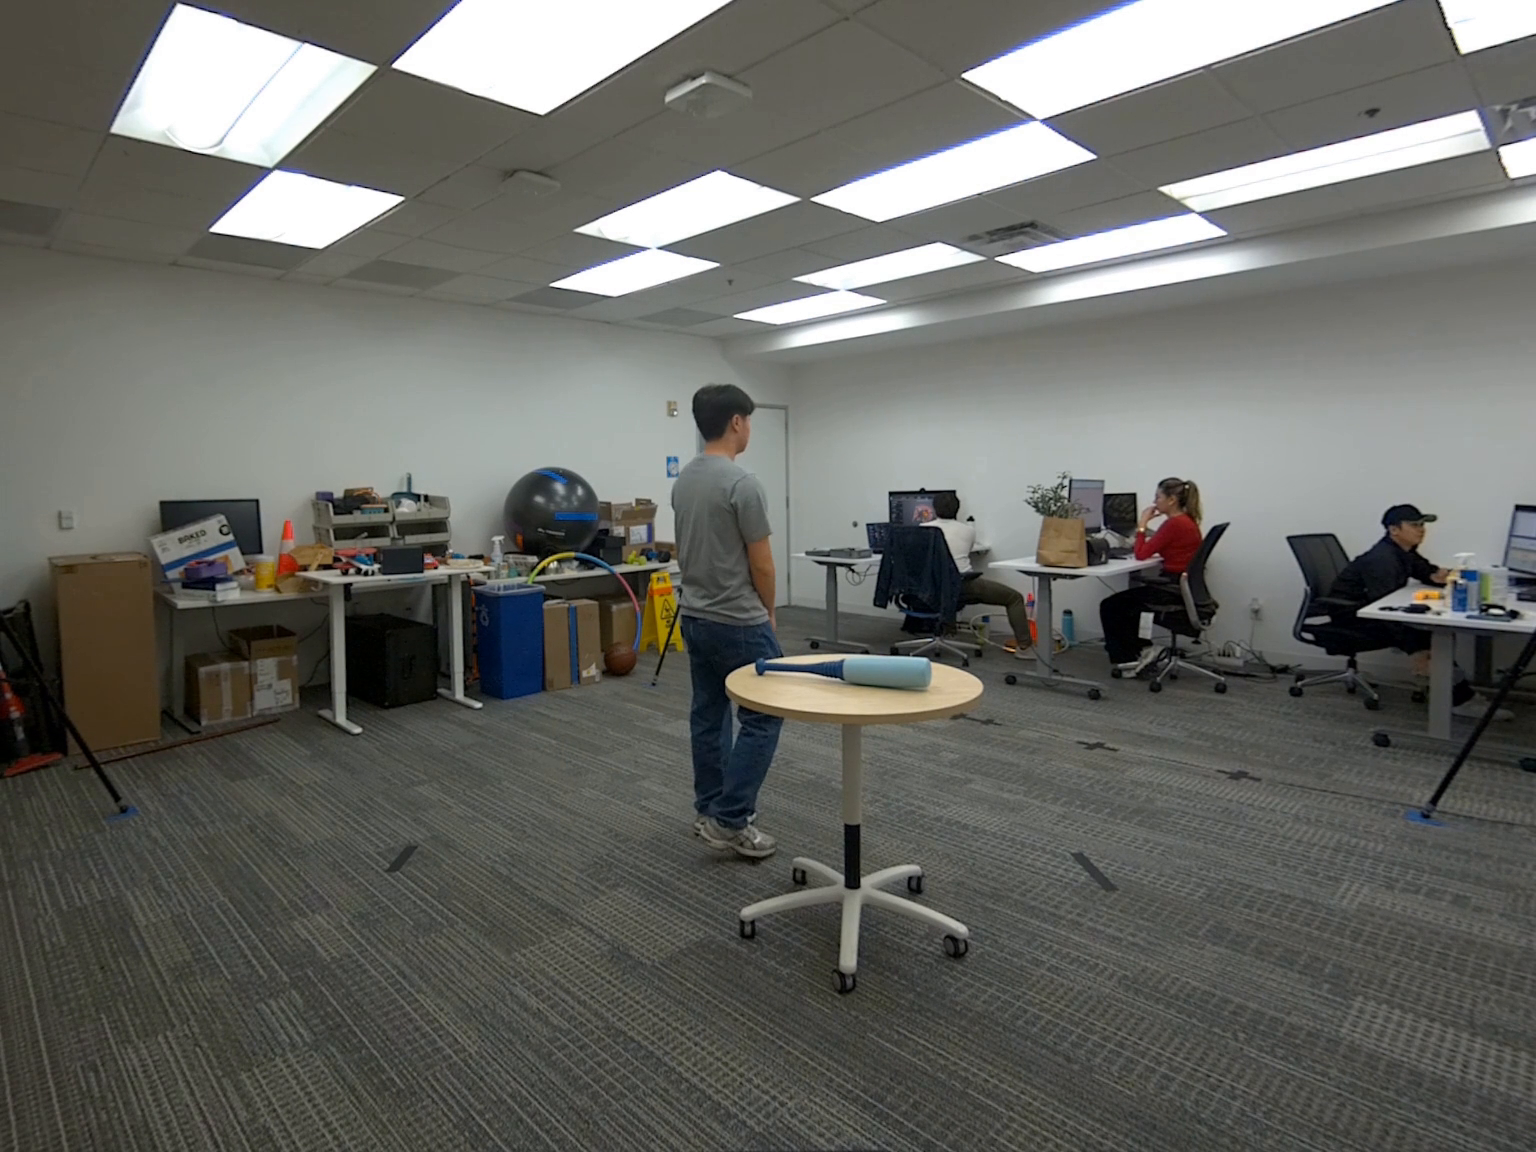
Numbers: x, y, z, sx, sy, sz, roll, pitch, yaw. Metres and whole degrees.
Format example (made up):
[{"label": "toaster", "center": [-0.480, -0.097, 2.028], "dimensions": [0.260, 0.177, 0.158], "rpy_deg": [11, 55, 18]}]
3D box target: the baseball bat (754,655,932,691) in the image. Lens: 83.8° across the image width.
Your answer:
[{"label": "baseball bat", "center": [0.222, 0.287, 2.562], "dimensions": [0.555, 0.089, 0.087], "rpy_deg": [-2, 4, 25]}]
